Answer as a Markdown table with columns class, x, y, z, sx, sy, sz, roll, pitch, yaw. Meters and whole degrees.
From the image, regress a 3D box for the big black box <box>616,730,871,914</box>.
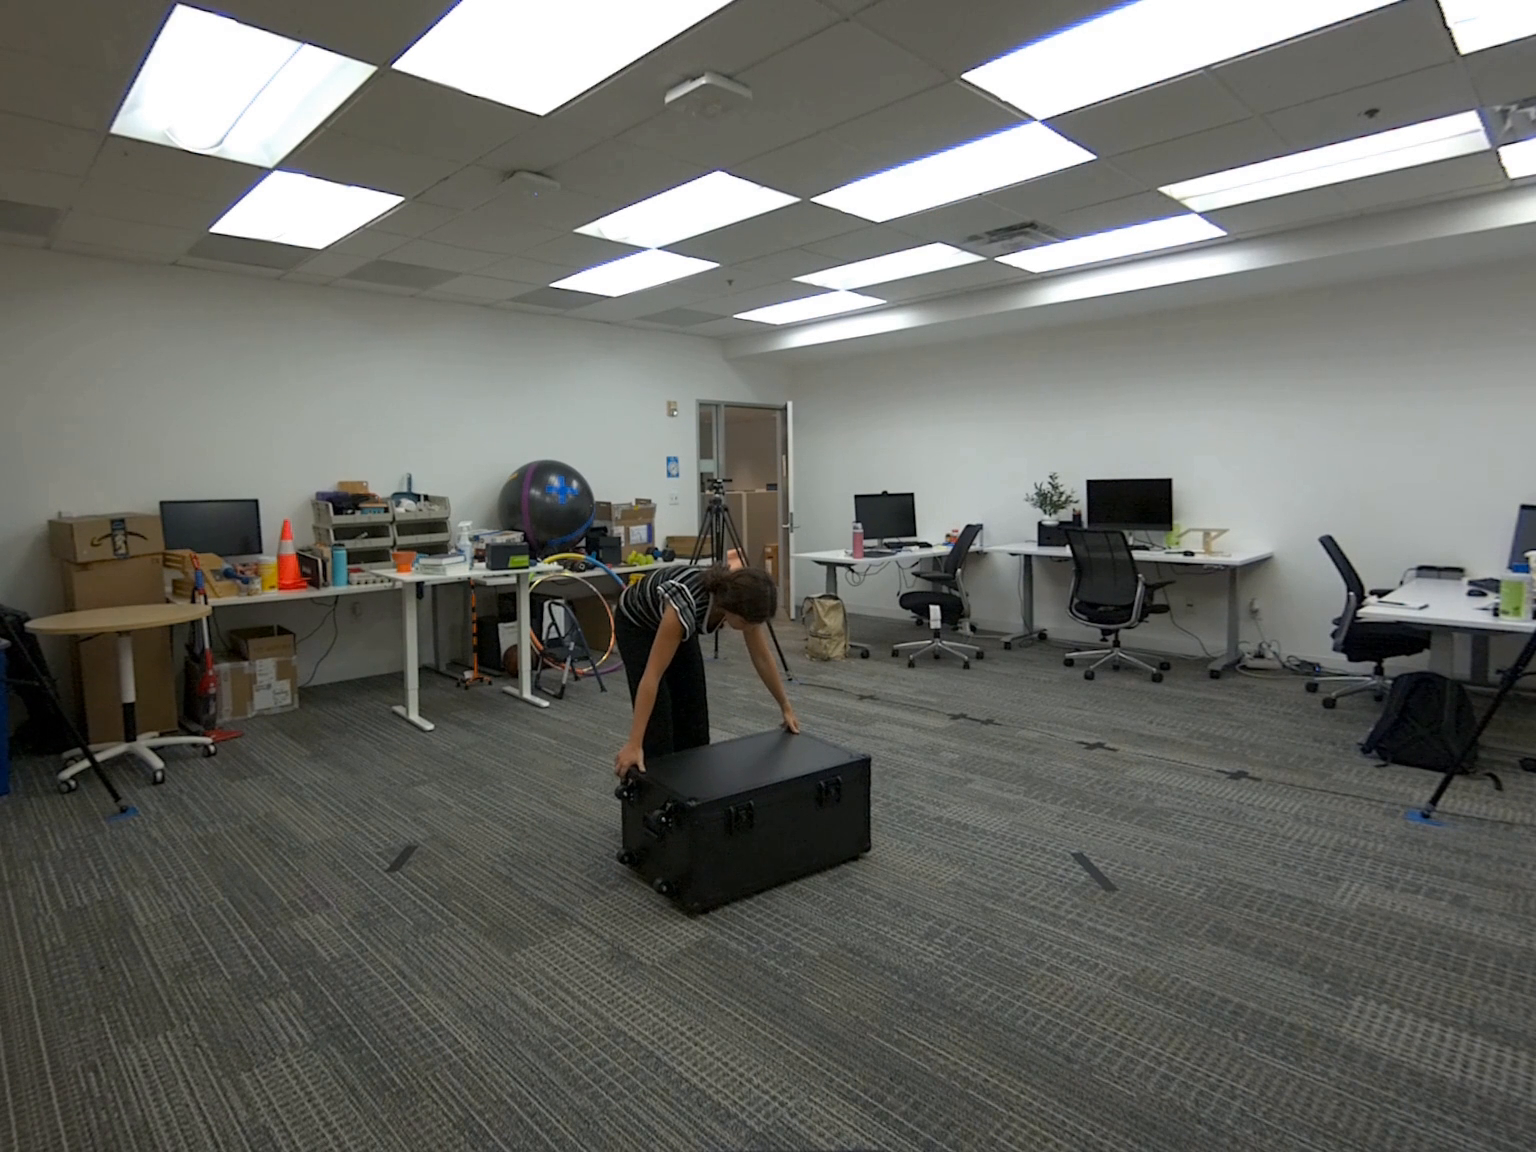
| class | x | y | z | sx | sy | sz | roll | pitch | yaw |
| --- | --- | --- | --- | --- | --- | --- | --- | --- | --- |
| big black box | -0.102 | 0.856 | 3.093 | 0.839 | 0.395 | 0.537 | -4 | 6 | -35 |
